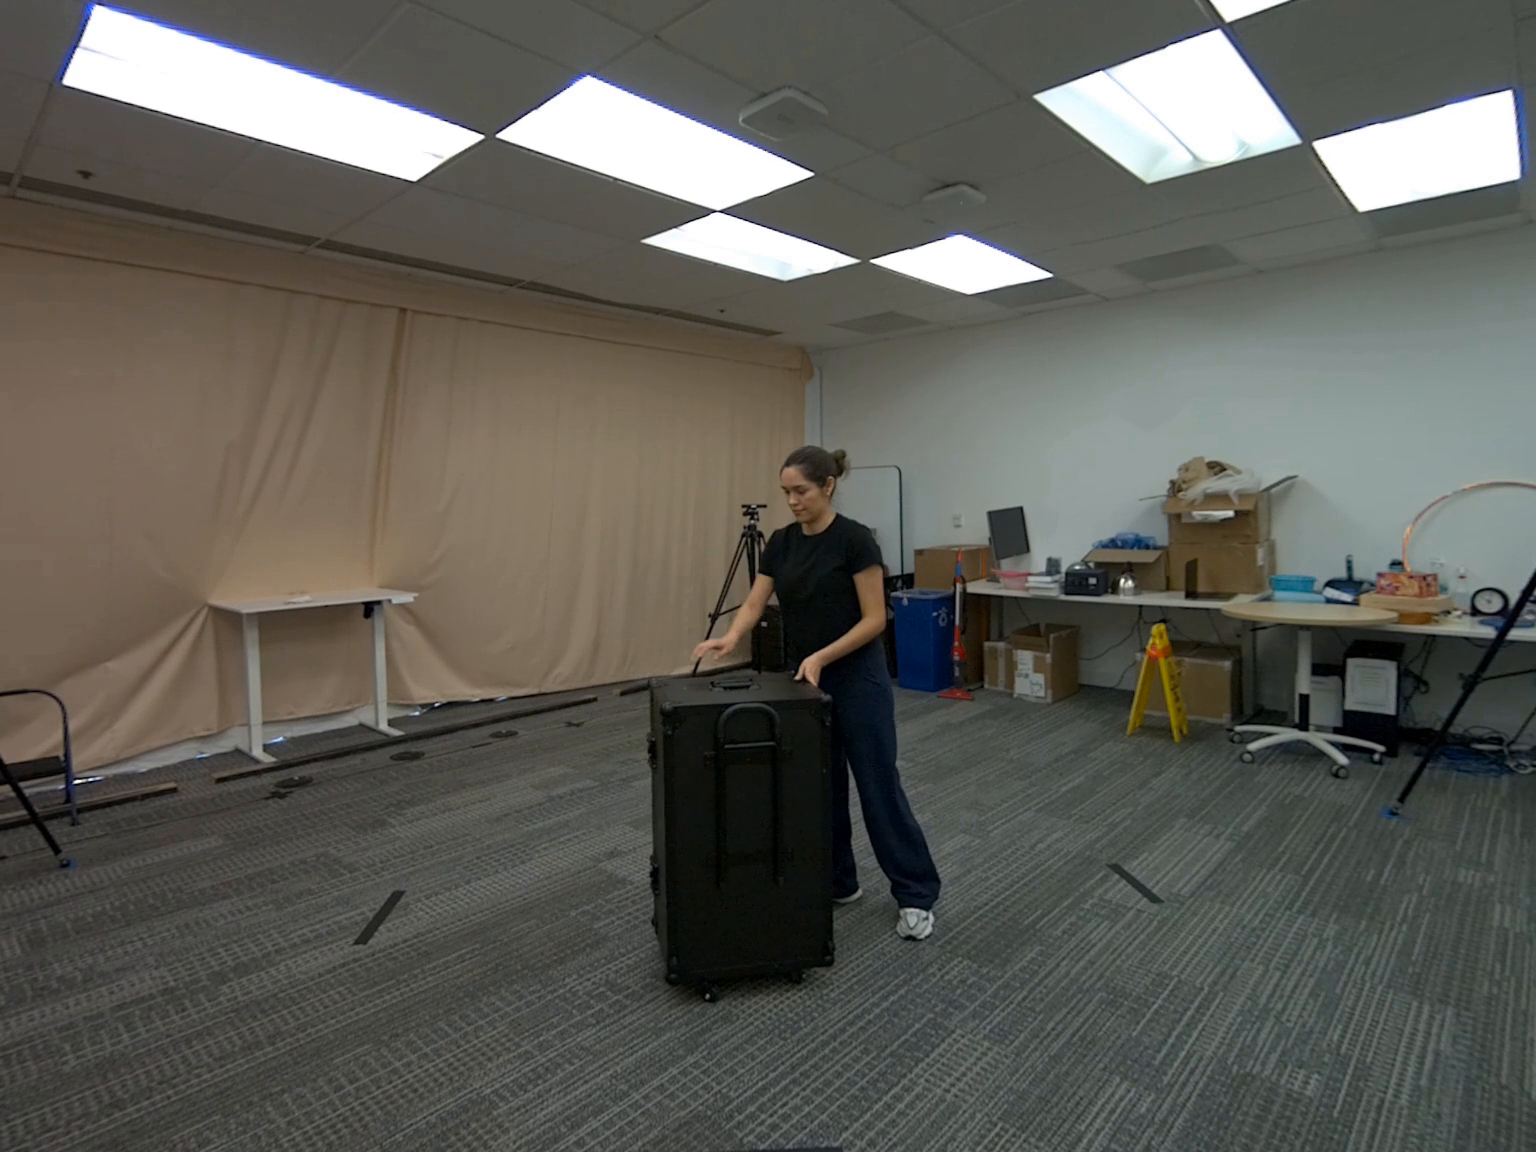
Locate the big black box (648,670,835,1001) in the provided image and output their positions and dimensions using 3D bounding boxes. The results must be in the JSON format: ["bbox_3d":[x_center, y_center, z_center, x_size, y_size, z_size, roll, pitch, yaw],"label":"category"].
[{"bbox_3d":[-0.068,0.753,2.505,0.515,0.859,0.402,-1,5,-12],"label":"big black box"}]
